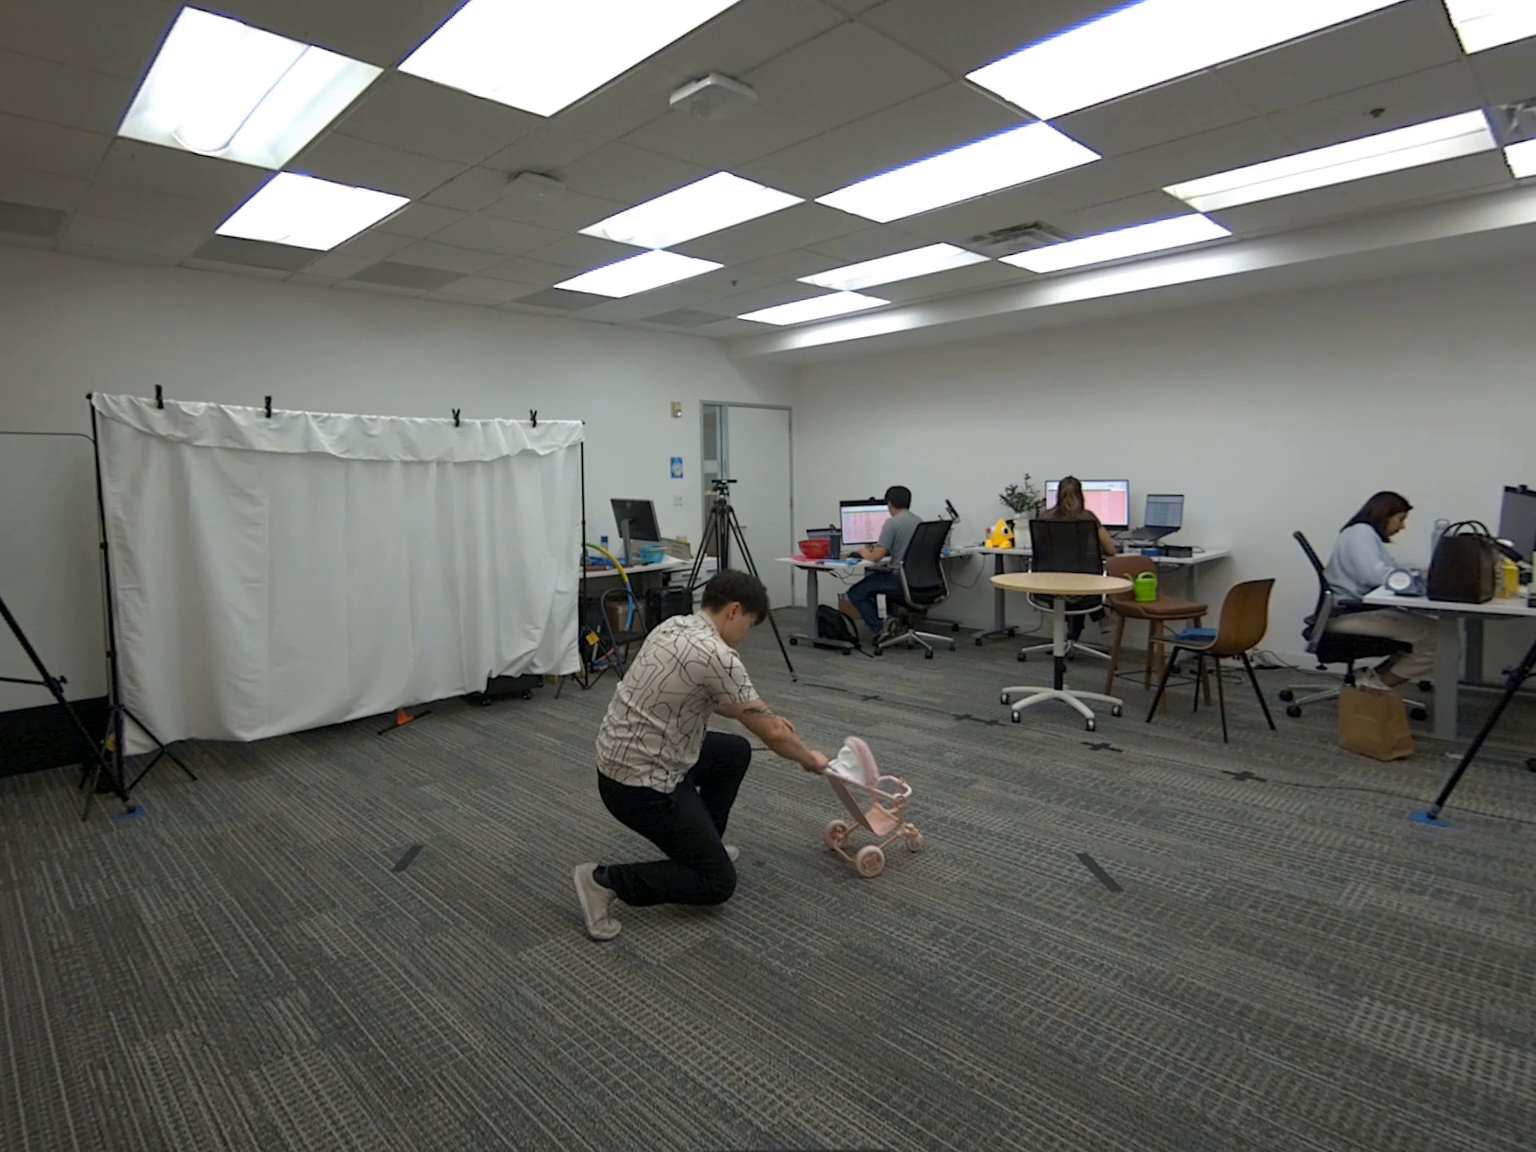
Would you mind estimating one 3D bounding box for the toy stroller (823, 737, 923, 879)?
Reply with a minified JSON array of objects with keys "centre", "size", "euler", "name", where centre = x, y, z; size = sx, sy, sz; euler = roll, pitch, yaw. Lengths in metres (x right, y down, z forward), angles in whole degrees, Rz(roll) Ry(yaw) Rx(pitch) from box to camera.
[{"centre":[0.360,0.819,3.114],"size":[0.338,0.529,0.287],"euler":[-22,10,-14],"name":"toy stroller"}]
